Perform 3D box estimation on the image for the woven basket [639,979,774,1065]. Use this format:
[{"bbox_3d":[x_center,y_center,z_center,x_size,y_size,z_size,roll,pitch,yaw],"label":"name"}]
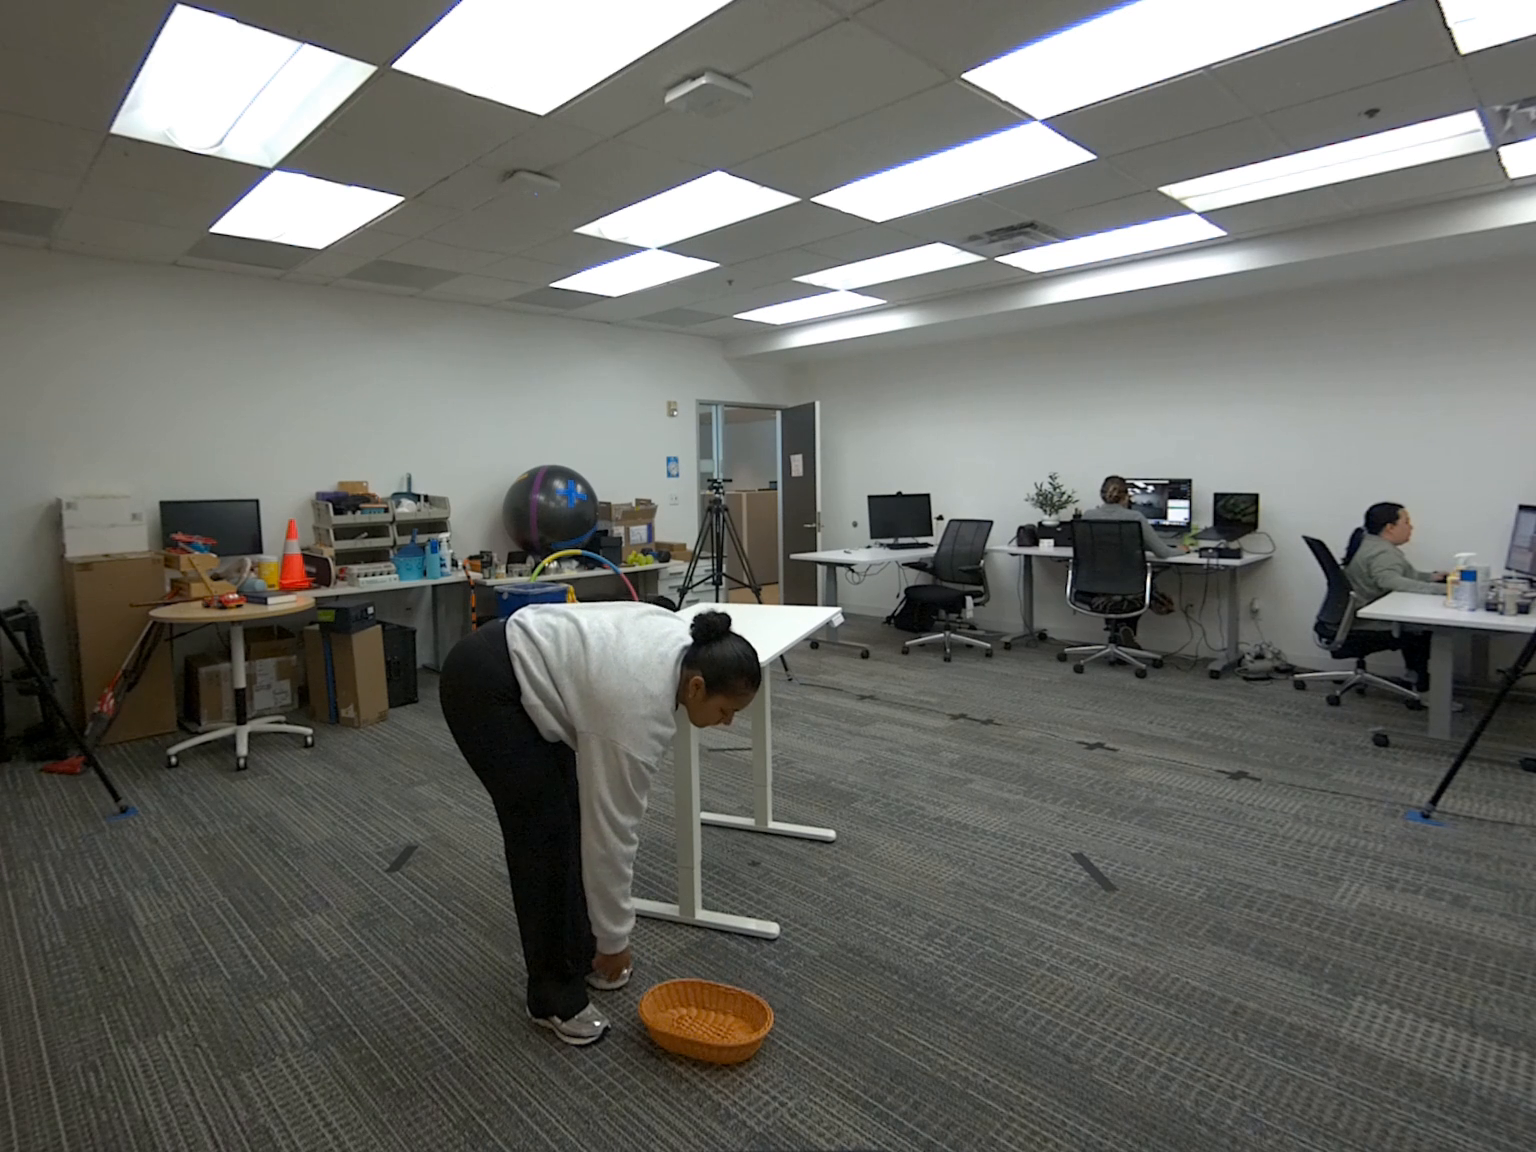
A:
[{"bbox_3d":[-0.149,1.108,2.142,0.358,0.073,0.248,2,6,22],"label":"woven basket"}]
